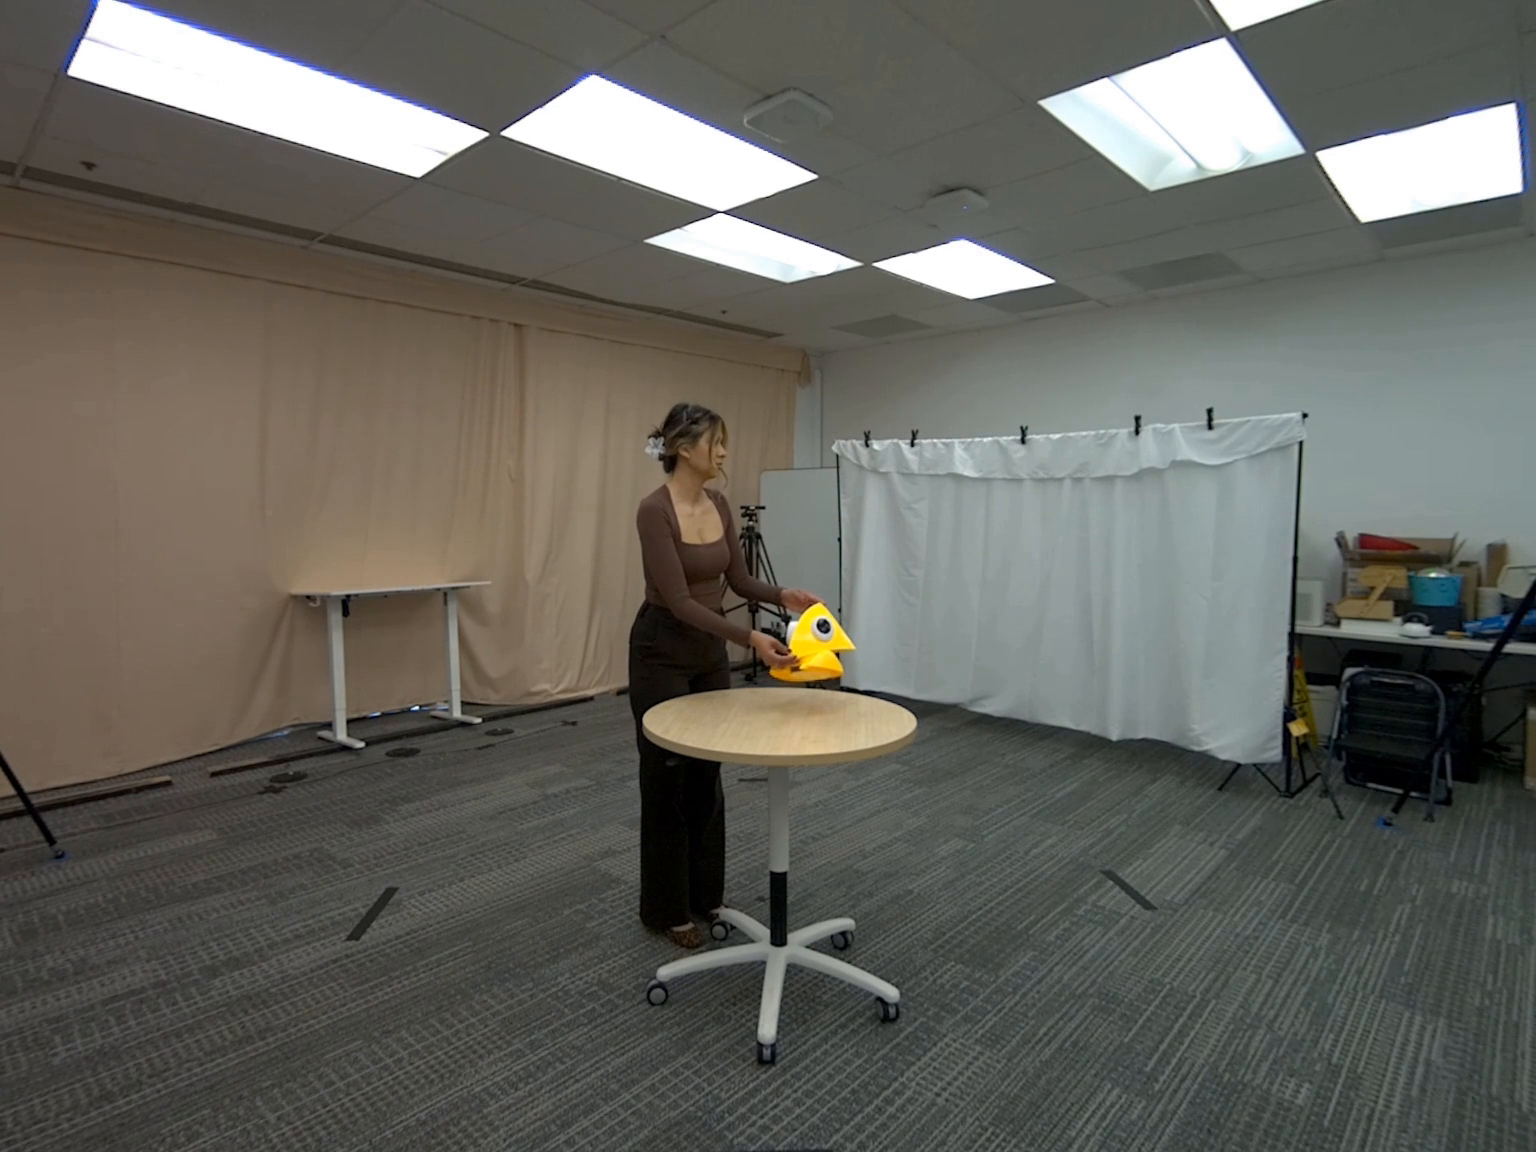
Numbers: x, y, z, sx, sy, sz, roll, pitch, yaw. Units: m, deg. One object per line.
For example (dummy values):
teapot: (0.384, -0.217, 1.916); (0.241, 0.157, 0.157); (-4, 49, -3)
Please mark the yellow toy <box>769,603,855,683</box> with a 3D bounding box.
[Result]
yellow toy: (0.127, 0.180, 2.450); (0.210, 0.233, 0.186); (-14, -24, 40)
